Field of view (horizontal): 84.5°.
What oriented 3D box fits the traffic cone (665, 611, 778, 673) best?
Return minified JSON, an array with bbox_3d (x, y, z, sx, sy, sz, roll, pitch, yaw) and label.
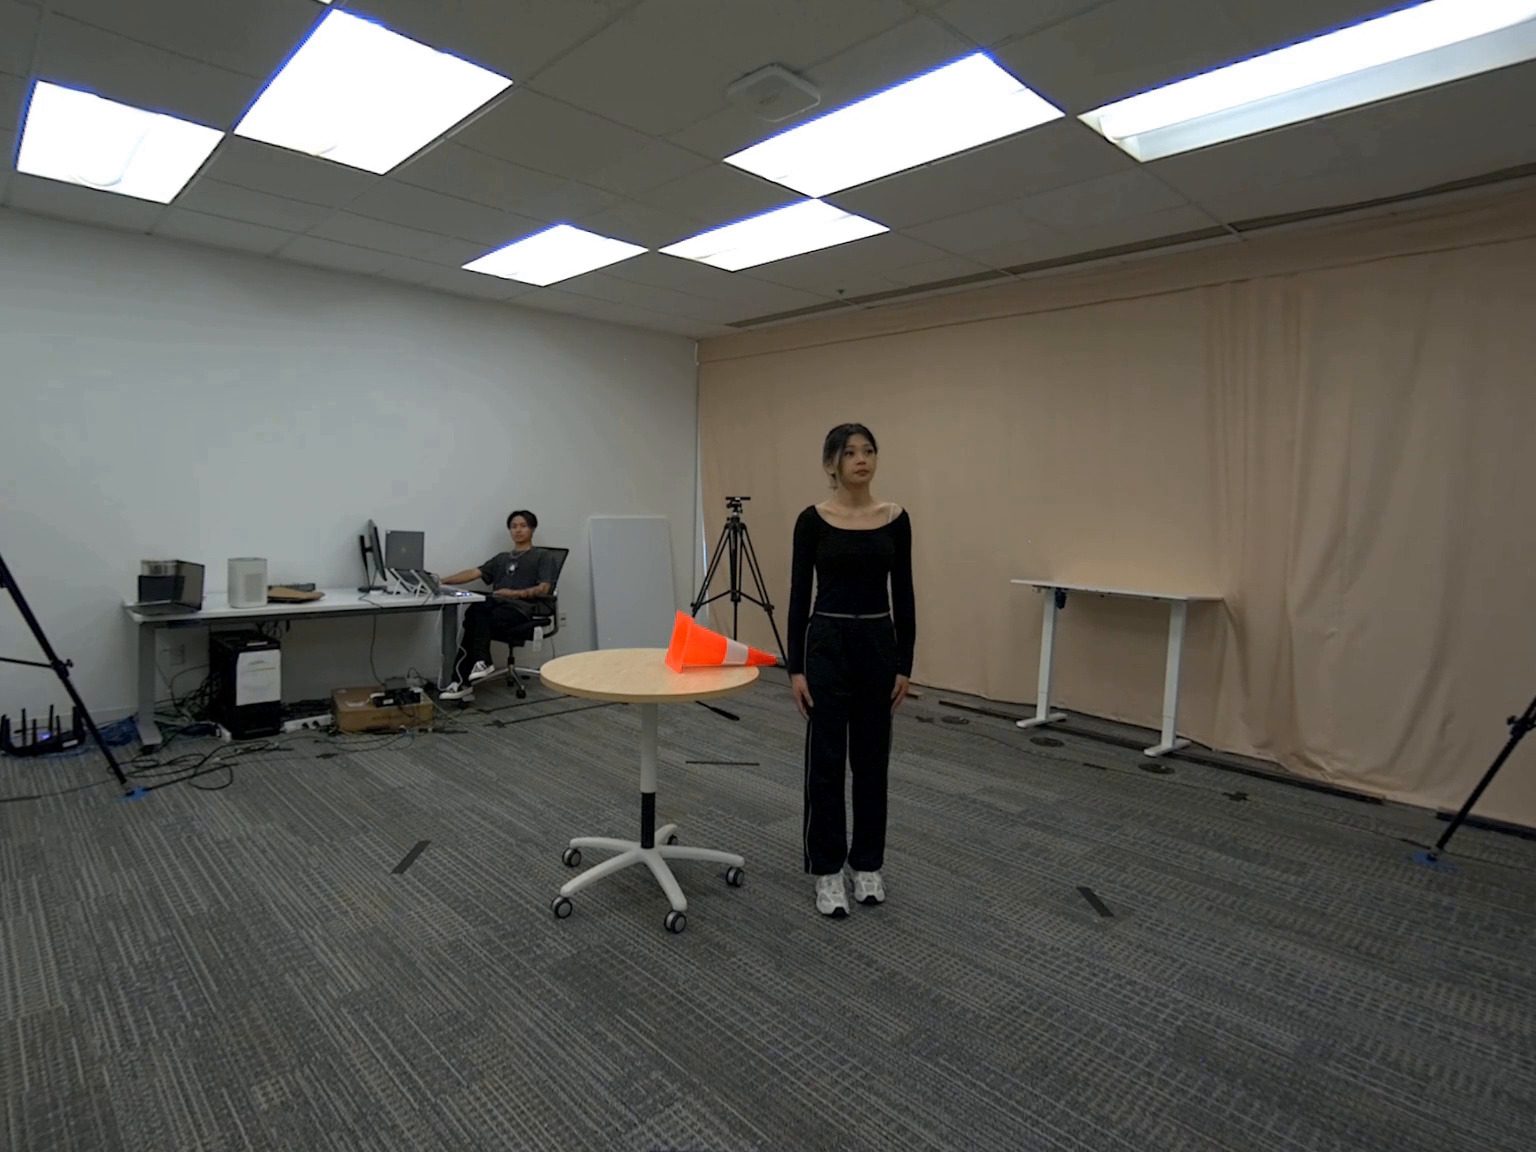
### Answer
[{"bbox_3d":[-0.151,0.272,3.049,0.378,0.203,0.208,12,4,-17],"label":"traffic cone"}]
